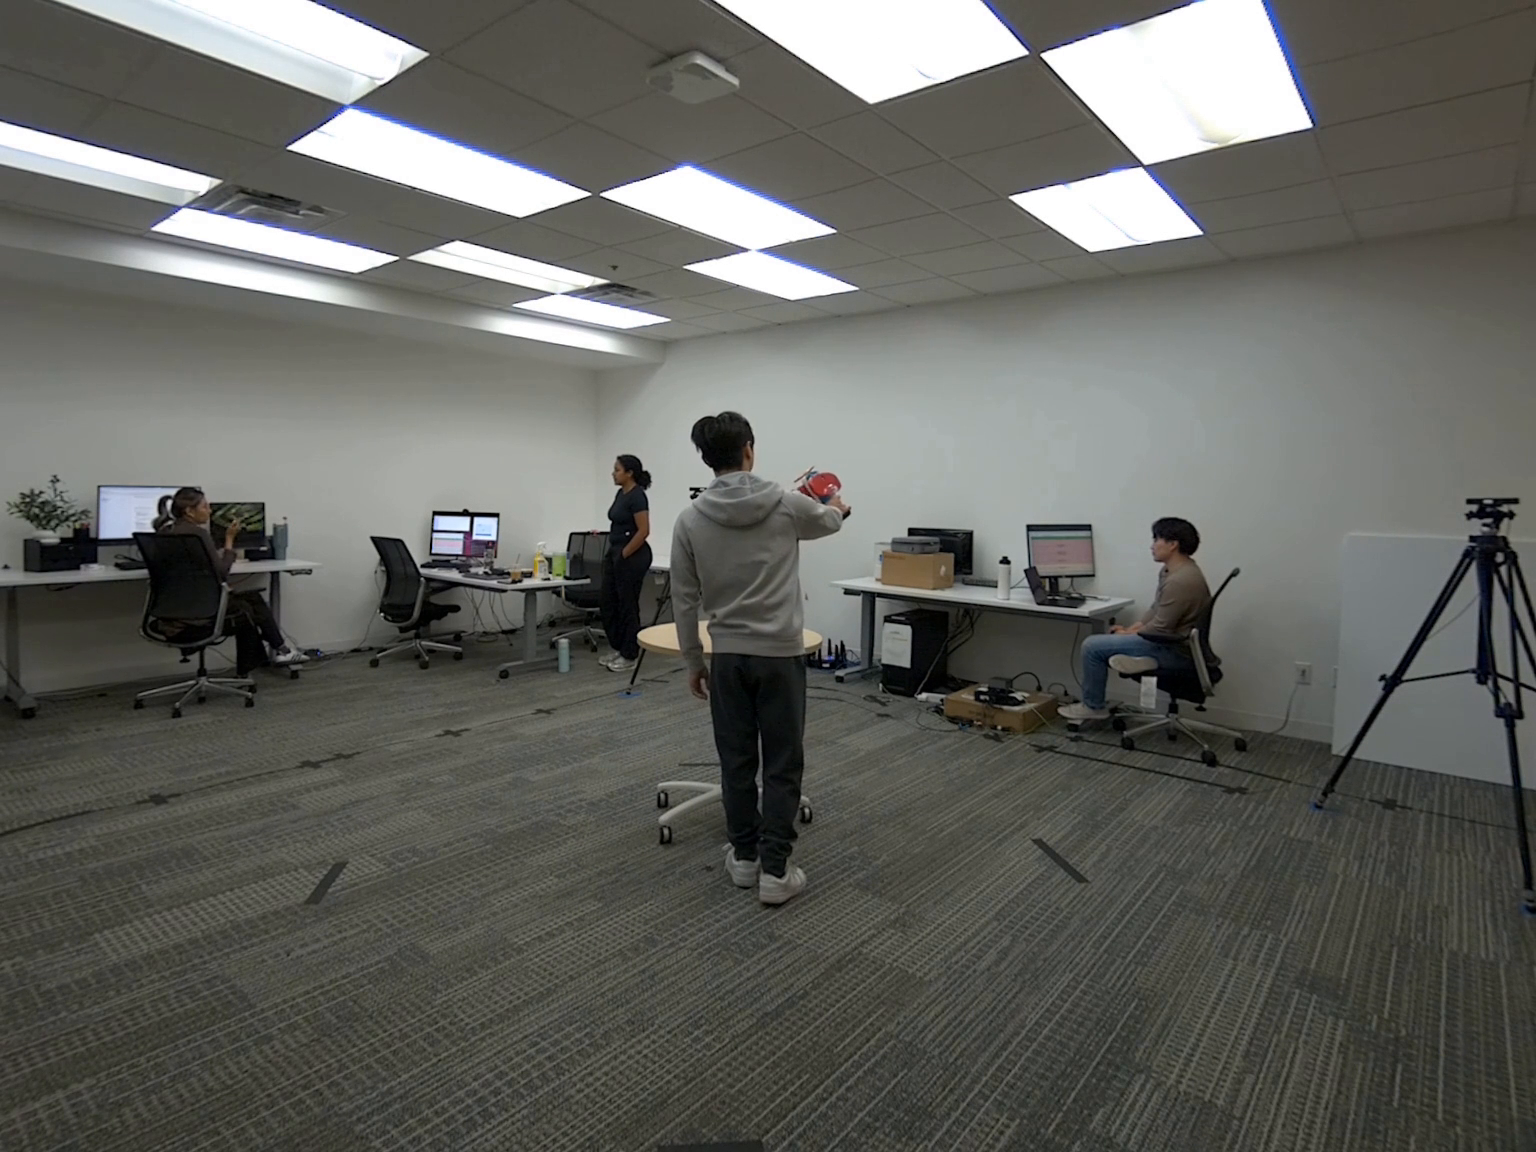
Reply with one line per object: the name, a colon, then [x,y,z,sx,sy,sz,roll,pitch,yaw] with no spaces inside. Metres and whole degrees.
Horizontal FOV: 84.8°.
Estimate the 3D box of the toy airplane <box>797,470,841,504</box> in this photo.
toy airplane: [0.224,-0.331,3.540,0.256,0.156,0.255,31,29,-10]
